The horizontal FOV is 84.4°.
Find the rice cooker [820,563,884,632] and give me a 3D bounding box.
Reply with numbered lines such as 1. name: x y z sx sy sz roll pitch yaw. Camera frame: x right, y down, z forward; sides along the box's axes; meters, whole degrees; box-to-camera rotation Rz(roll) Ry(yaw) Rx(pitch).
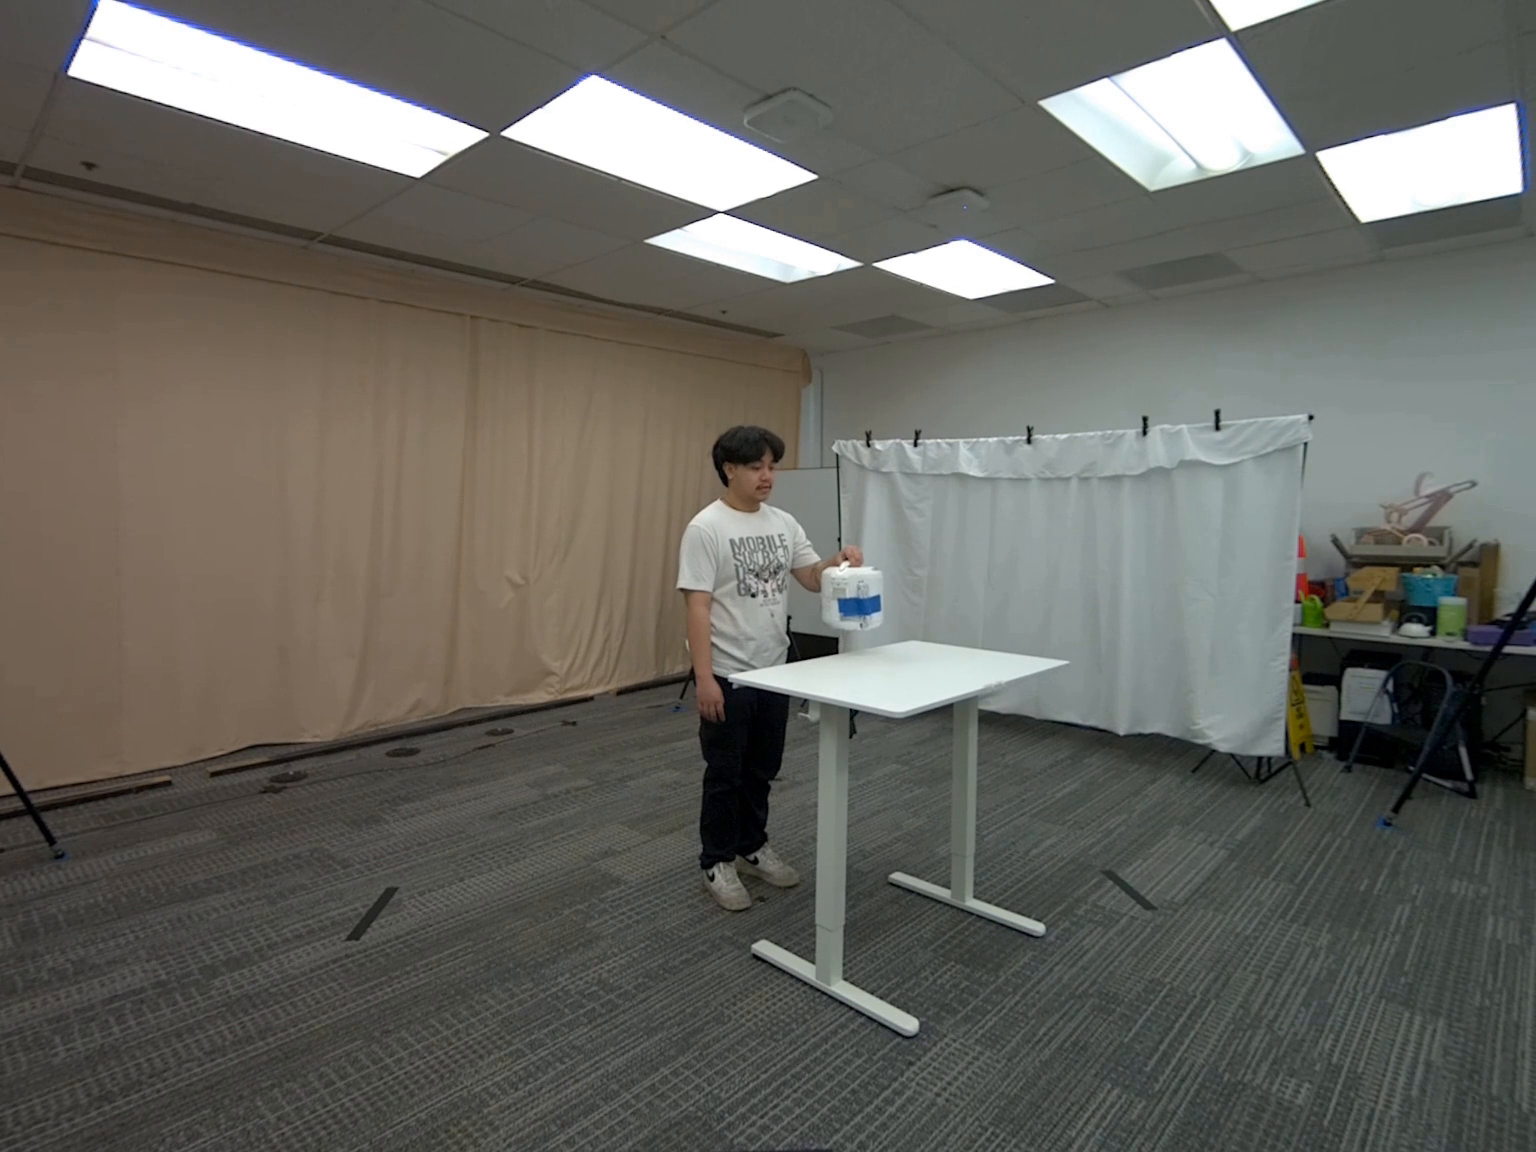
1. rice cooker: 0.291 0.063 2.871 0.224 0.232 0.214 2 3 31
